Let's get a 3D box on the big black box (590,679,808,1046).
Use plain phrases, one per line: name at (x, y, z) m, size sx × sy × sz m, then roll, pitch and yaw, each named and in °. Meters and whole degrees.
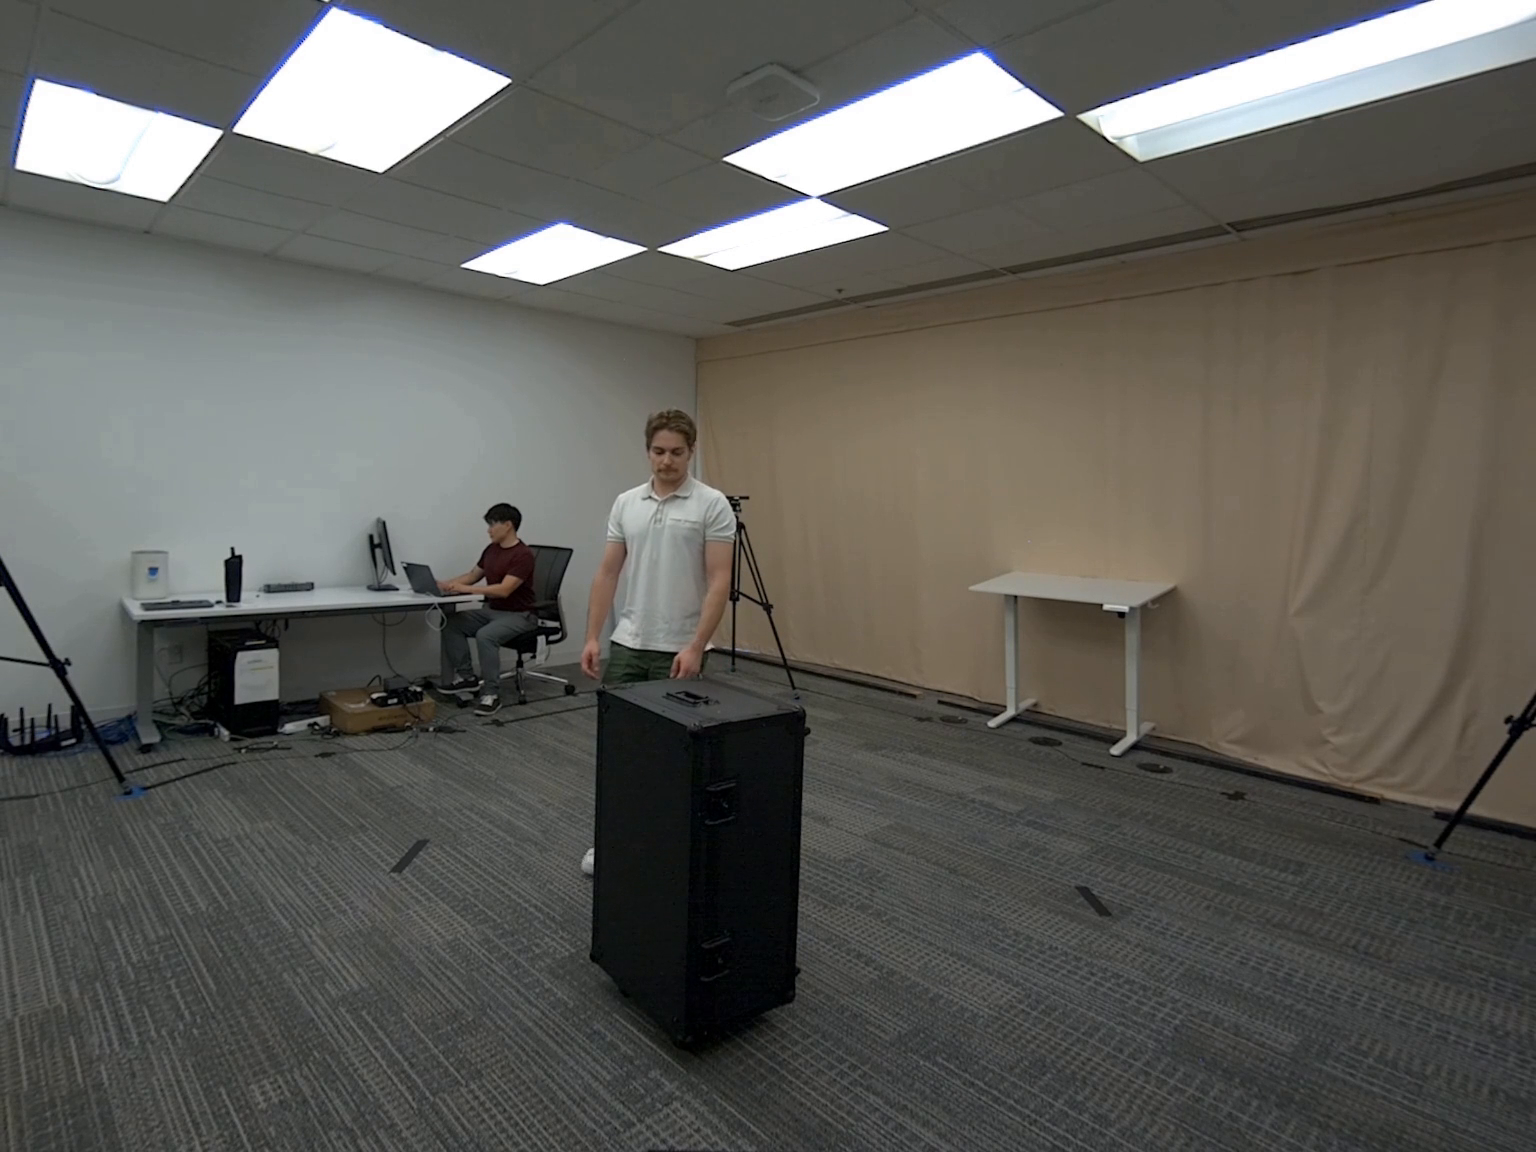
big black box at (-0.208, 0.760, 2.291) m, size 0.376 × 0.867 × 0.536 m, roll 0°, pitch 4°, yaw -39°
